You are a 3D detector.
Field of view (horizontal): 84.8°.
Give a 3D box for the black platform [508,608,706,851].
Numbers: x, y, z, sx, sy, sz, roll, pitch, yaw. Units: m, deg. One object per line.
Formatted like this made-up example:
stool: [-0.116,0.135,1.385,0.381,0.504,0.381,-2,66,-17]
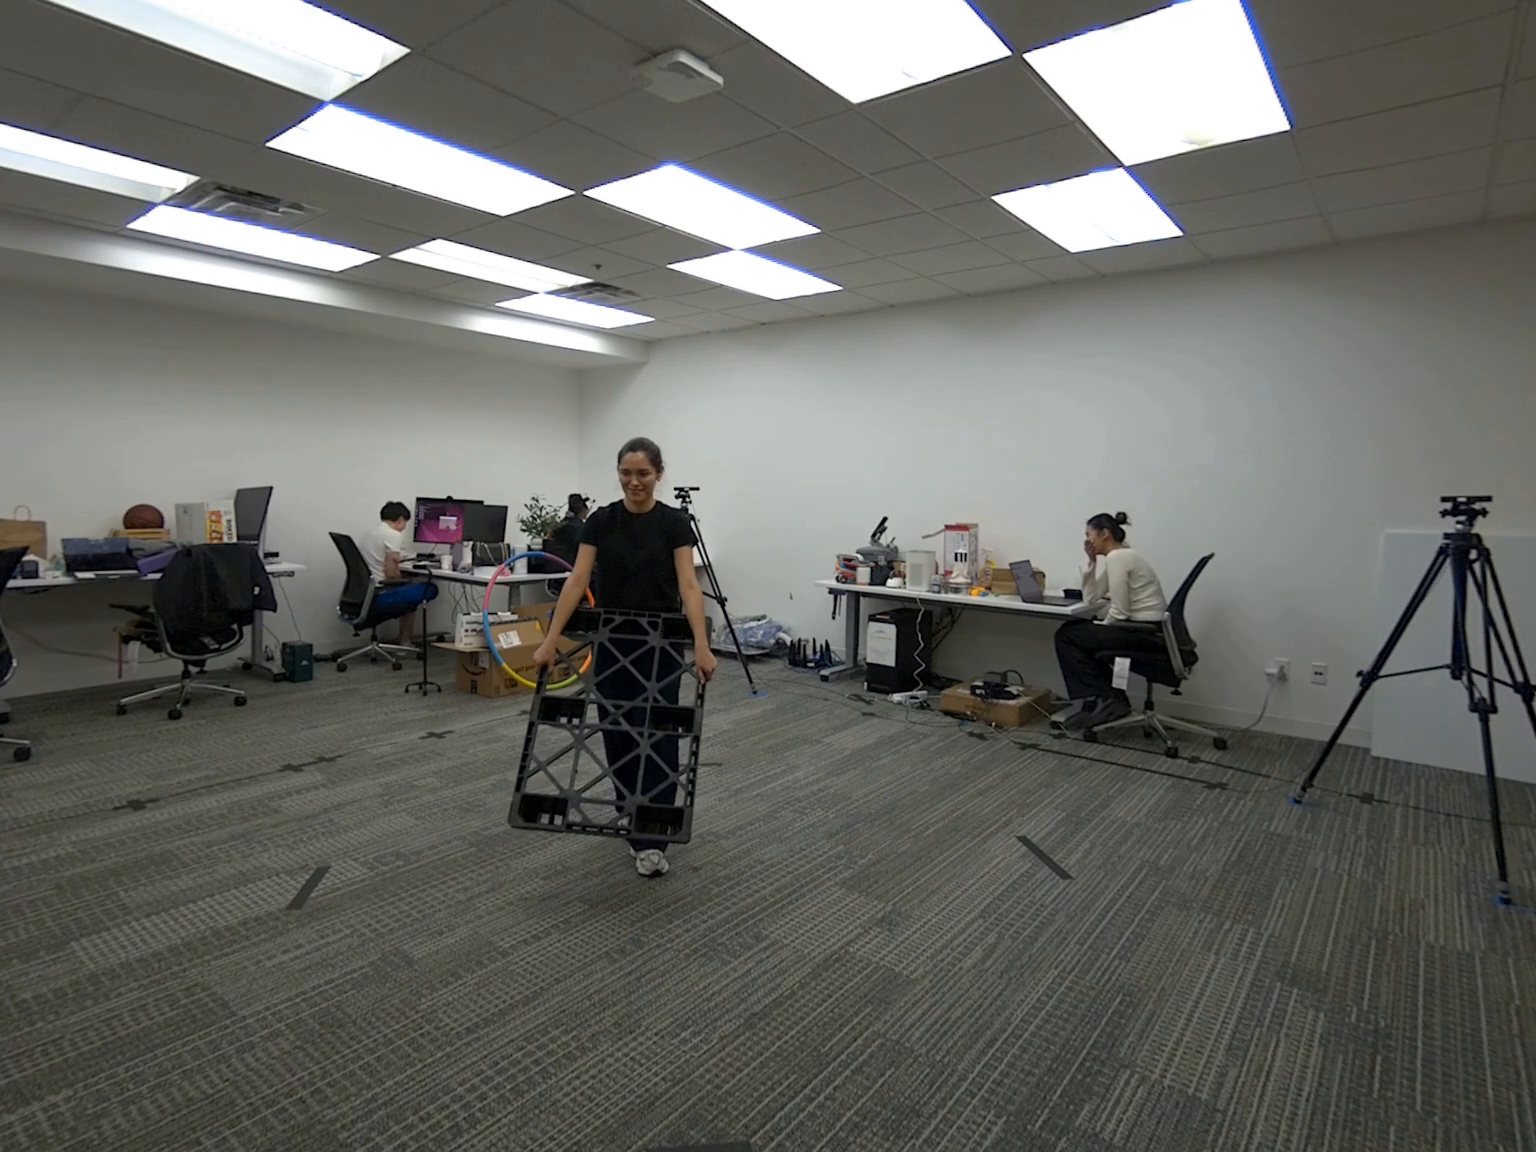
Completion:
black platform: [-0.518,0.502,3.005,0.607,0.823,0.140,3,-29,3]
